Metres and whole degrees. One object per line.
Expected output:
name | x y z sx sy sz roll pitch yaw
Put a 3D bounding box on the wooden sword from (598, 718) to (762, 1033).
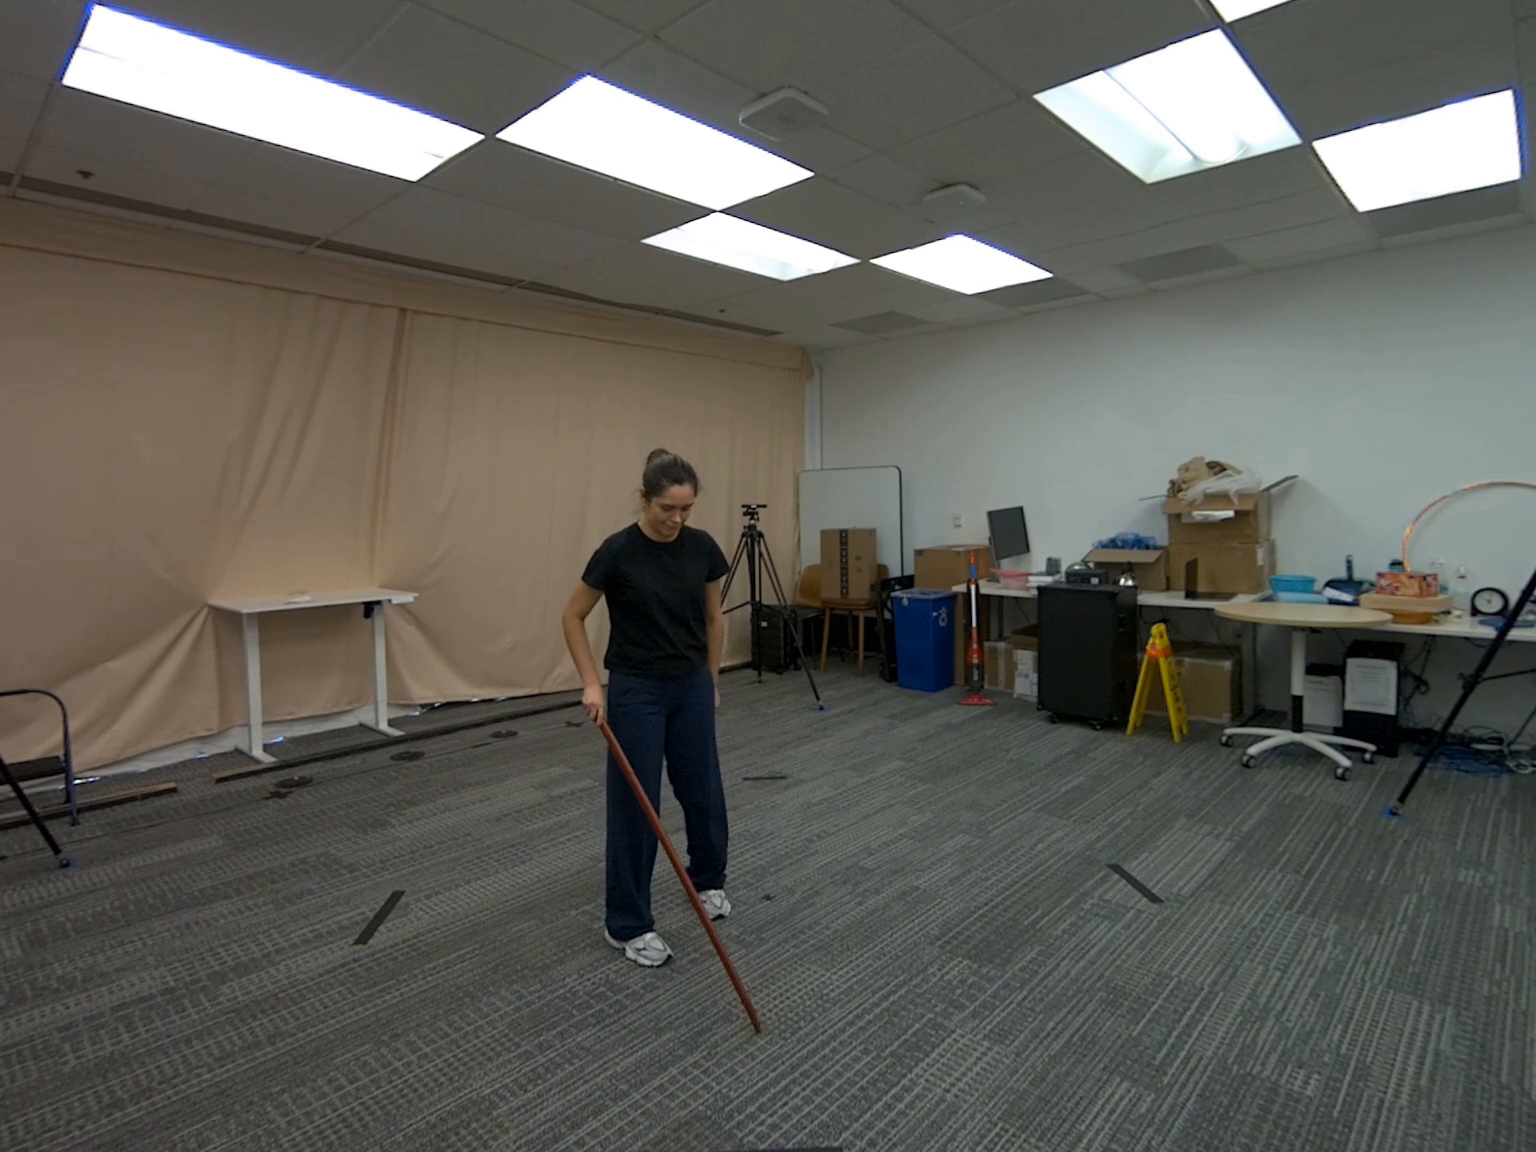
wooden sword | -0.268 0.781 2.419 0.024 1.048 0.050 -28 -22 -12
